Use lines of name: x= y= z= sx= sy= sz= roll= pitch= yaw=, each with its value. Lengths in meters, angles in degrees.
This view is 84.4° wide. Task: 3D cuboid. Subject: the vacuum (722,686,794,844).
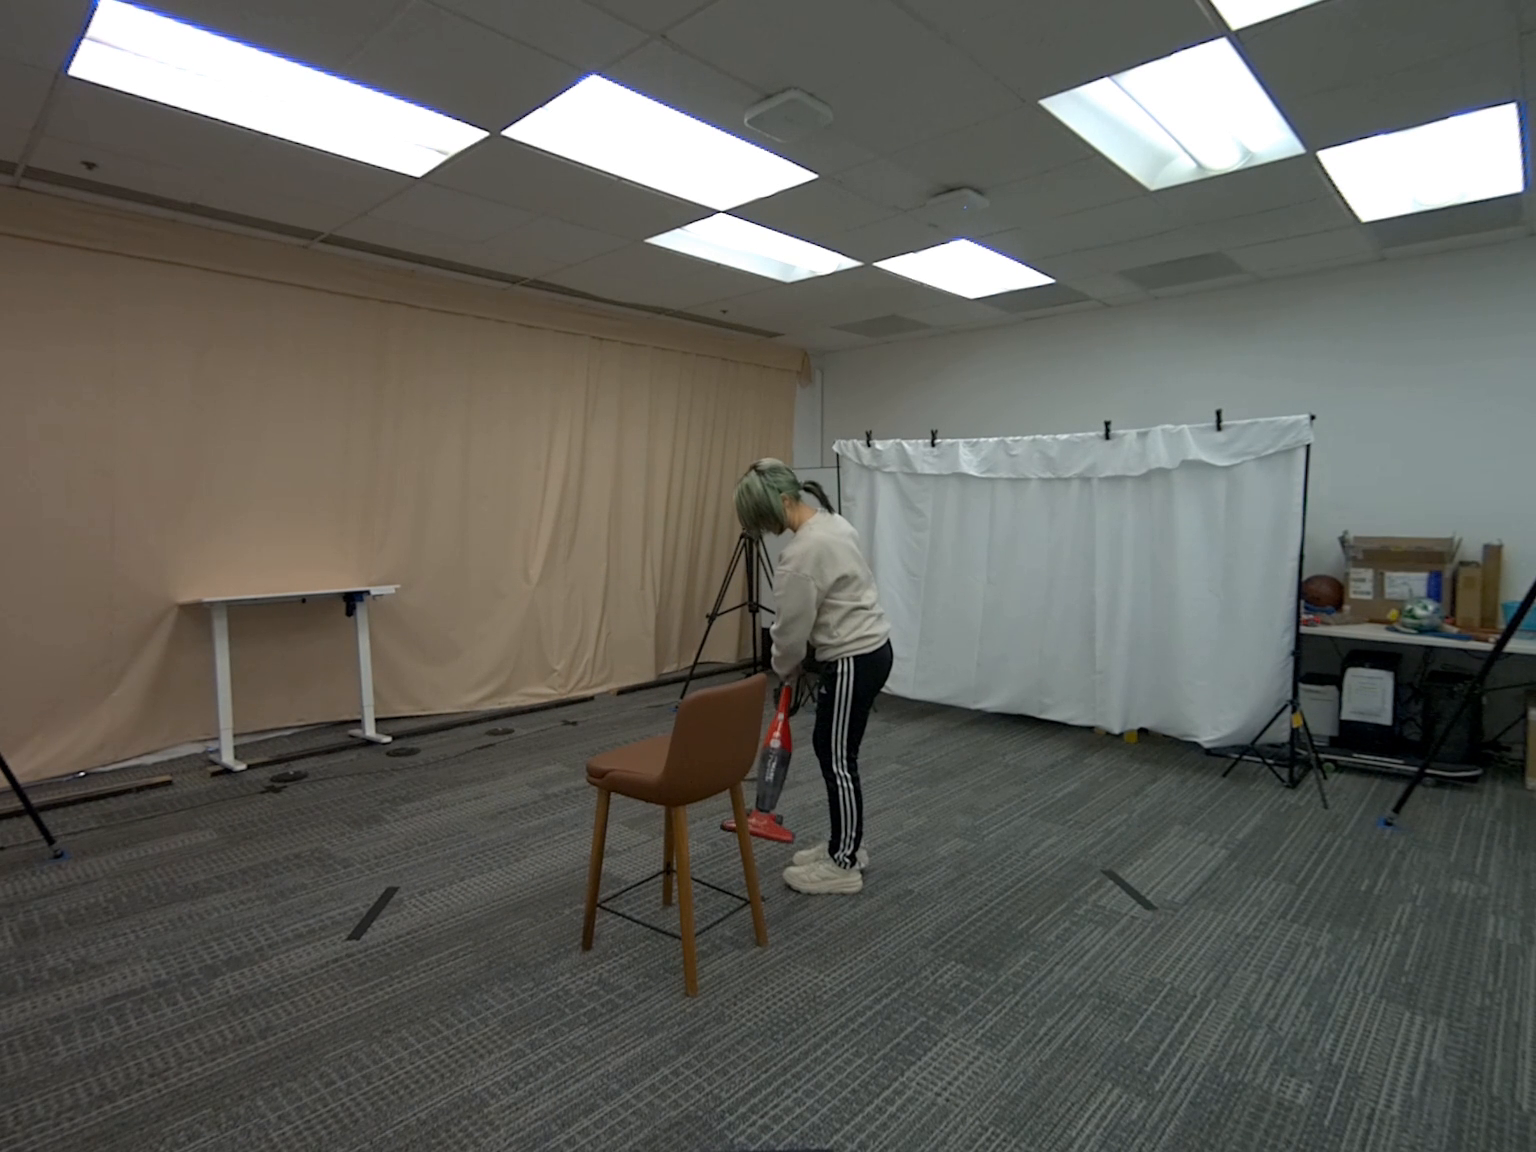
vacuum: x=0.081 y=0.446 z=3.183 sx=0.256 sy=1.060 sz=0.140 roll=3 pitch=-36 yaw=12
